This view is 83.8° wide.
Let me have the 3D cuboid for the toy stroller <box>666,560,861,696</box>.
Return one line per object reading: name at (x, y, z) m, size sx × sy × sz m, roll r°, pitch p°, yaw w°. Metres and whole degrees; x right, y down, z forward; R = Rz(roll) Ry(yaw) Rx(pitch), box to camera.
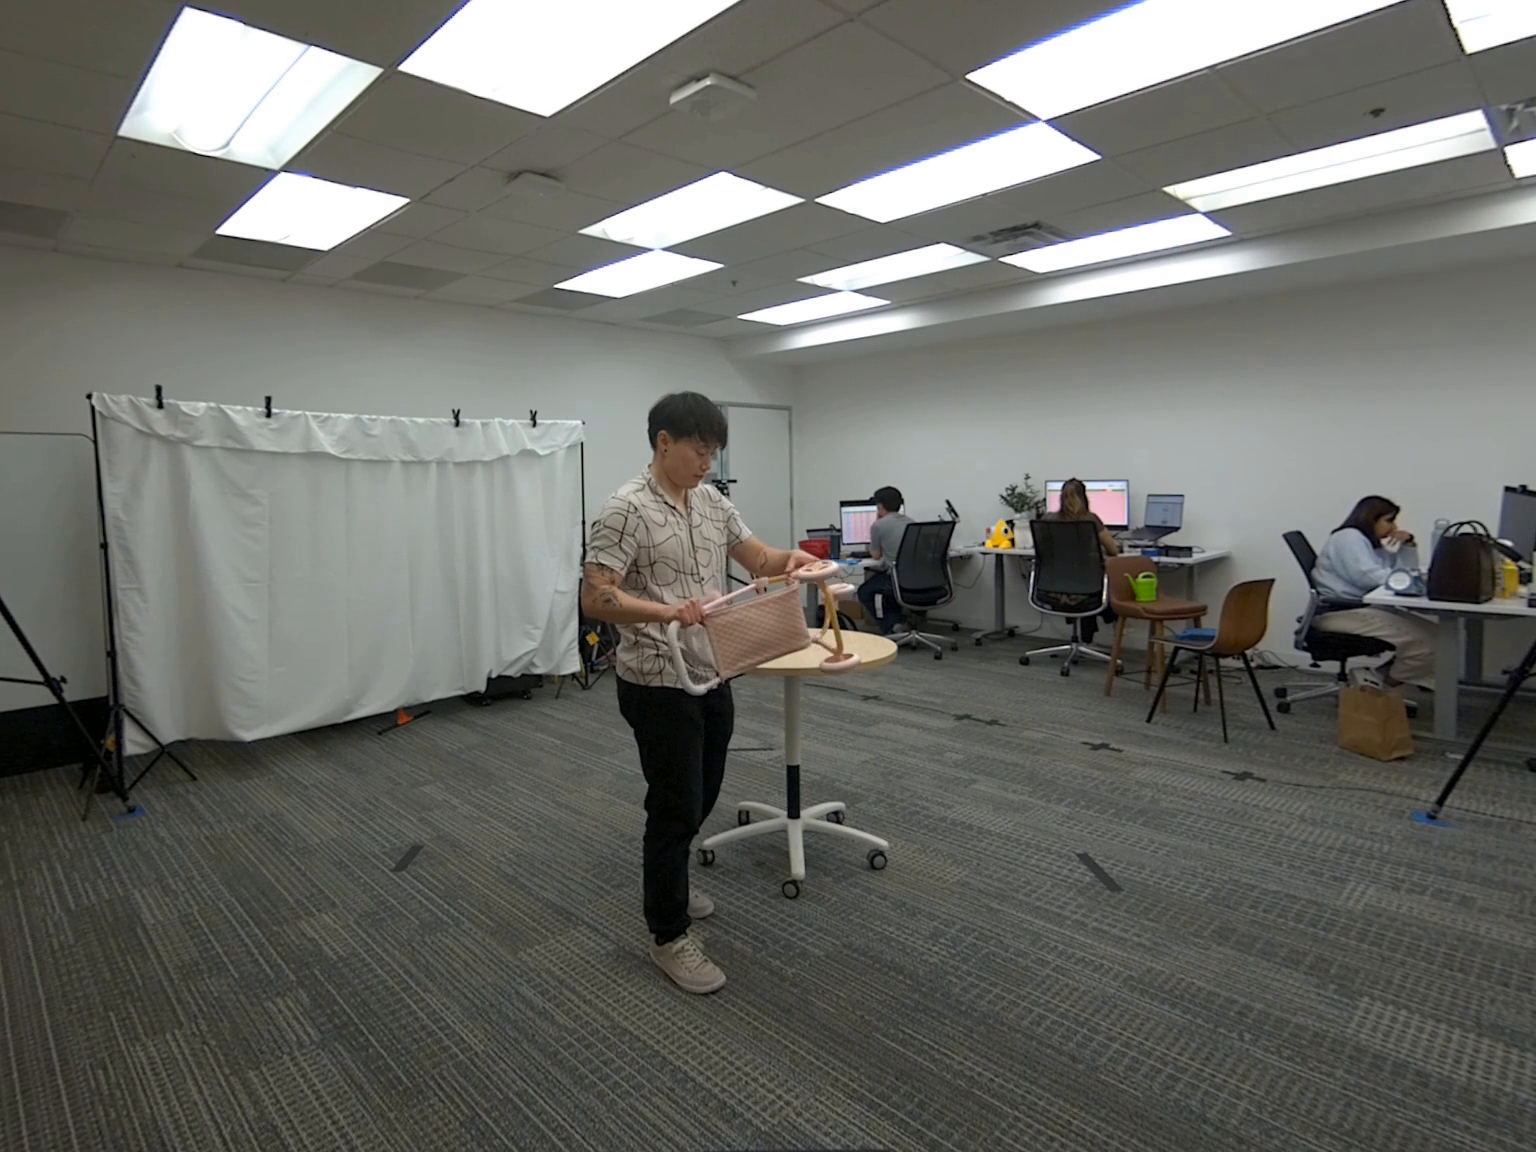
toy stroller at (0.005, 0.121, 2.319) m, size 0.535 × 0.277 × 0.346 m, roll -15°, pitch 13°, yaw -1°
